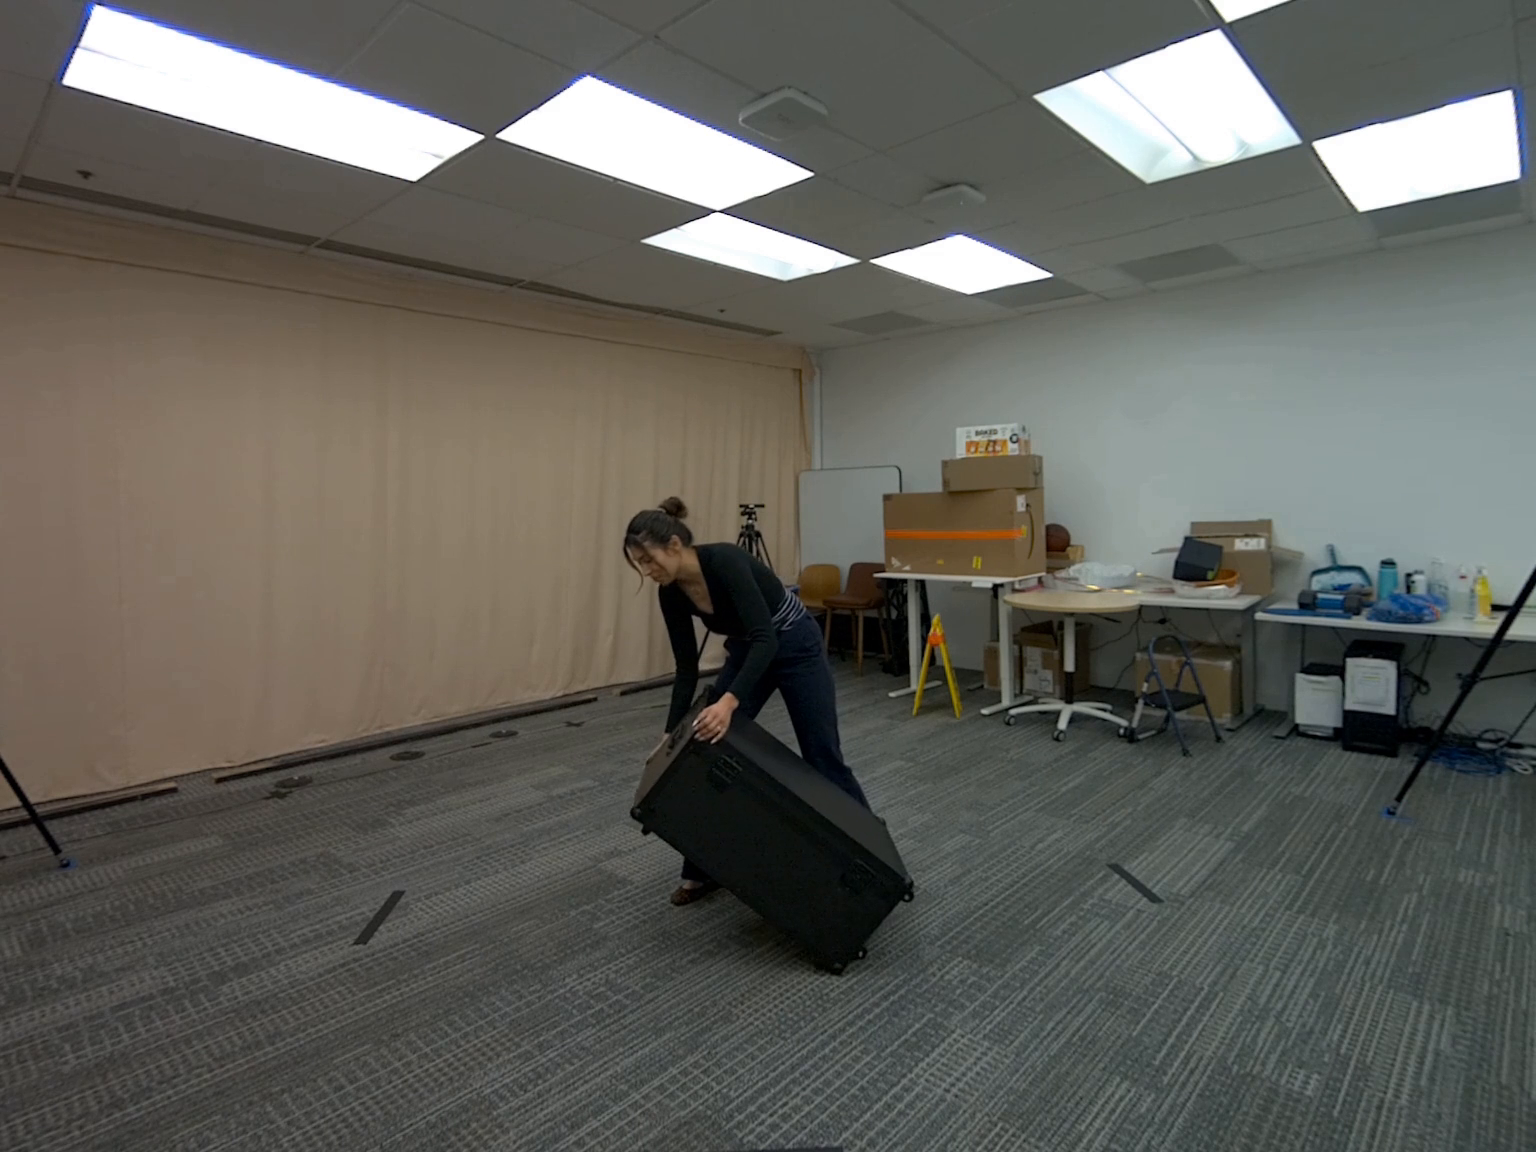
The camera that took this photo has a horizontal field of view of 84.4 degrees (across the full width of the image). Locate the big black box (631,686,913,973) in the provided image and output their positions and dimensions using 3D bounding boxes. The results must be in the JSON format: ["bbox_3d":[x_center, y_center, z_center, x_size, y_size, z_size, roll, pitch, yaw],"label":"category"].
[{"bbox_3d":[0.024,0.803,2.696,0.860,0.396,0.522,37,3,-2],"label":"big black box"}]
